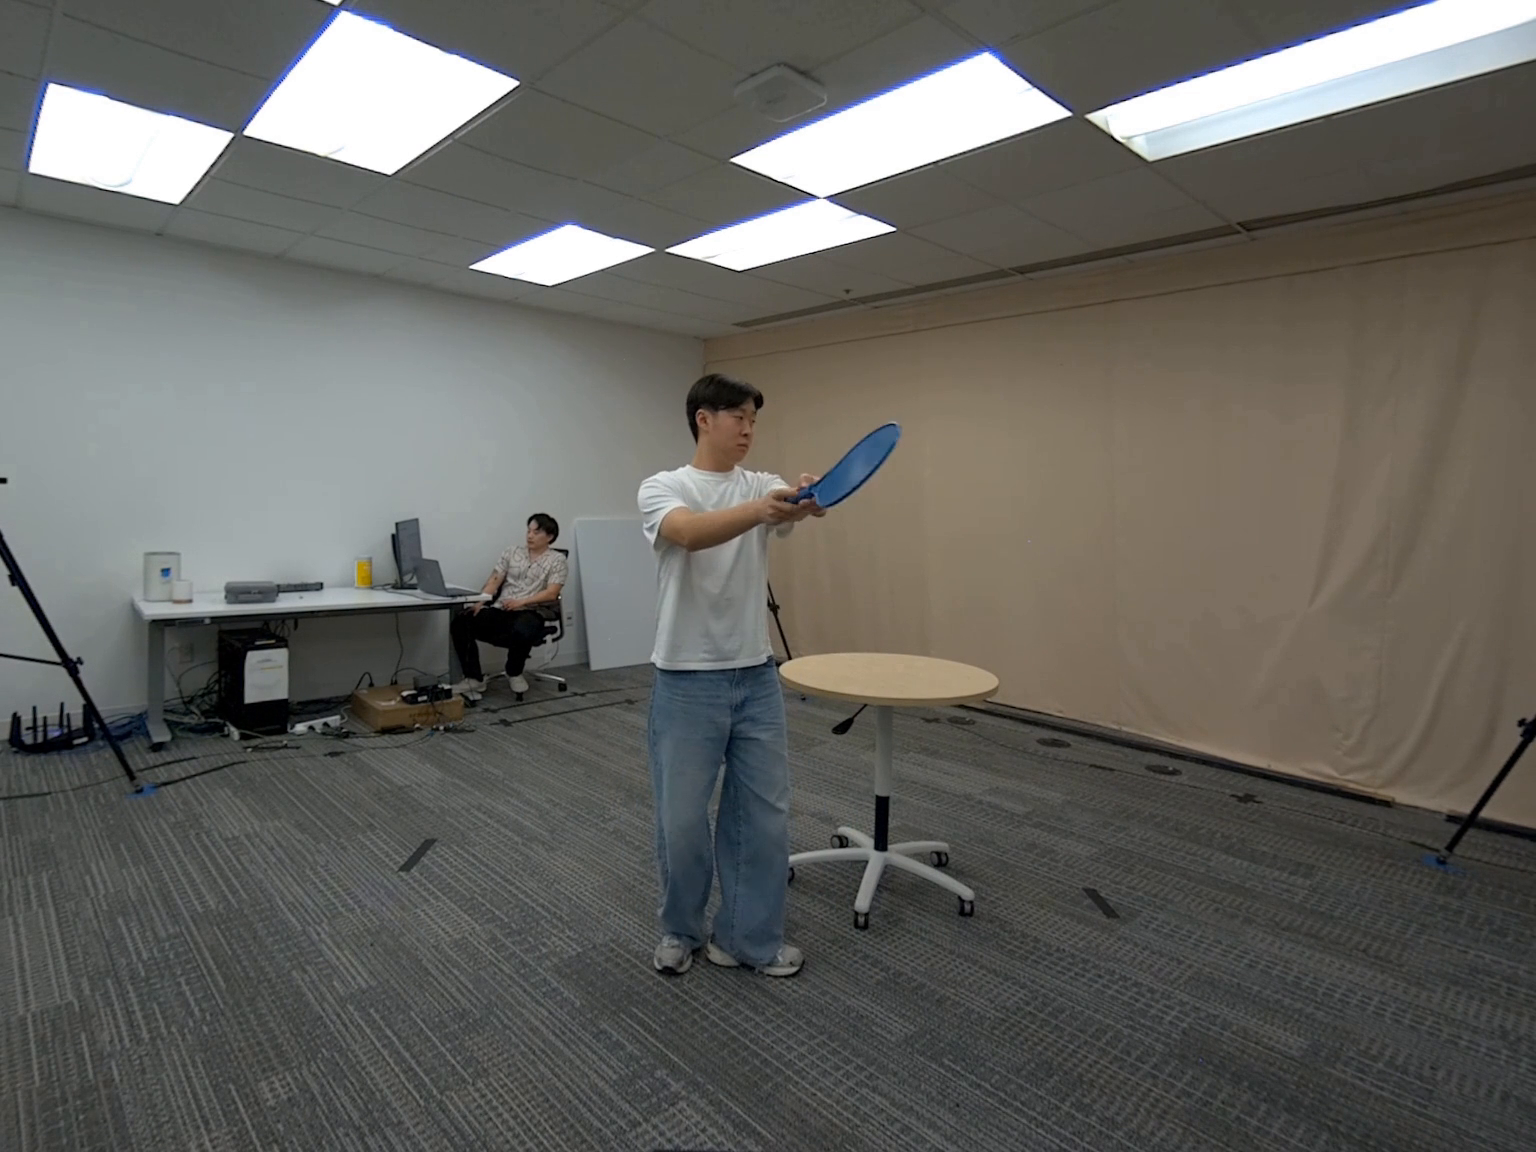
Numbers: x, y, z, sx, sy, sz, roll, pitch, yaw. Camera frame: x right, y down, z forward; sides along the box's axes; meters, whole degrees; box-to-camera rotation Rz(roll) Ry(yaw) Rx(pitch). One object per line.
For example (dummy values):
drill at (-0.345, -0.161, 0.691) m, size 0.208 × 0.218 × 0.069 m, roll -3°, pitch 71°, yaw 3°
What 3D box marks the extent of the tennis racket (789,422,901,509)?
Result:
tennis racket at (0.147, -0.201, 1.807) m, size 0.031 × 0.215 × 0.436 m, roll 37°, pitch -30°, yaw -15°
